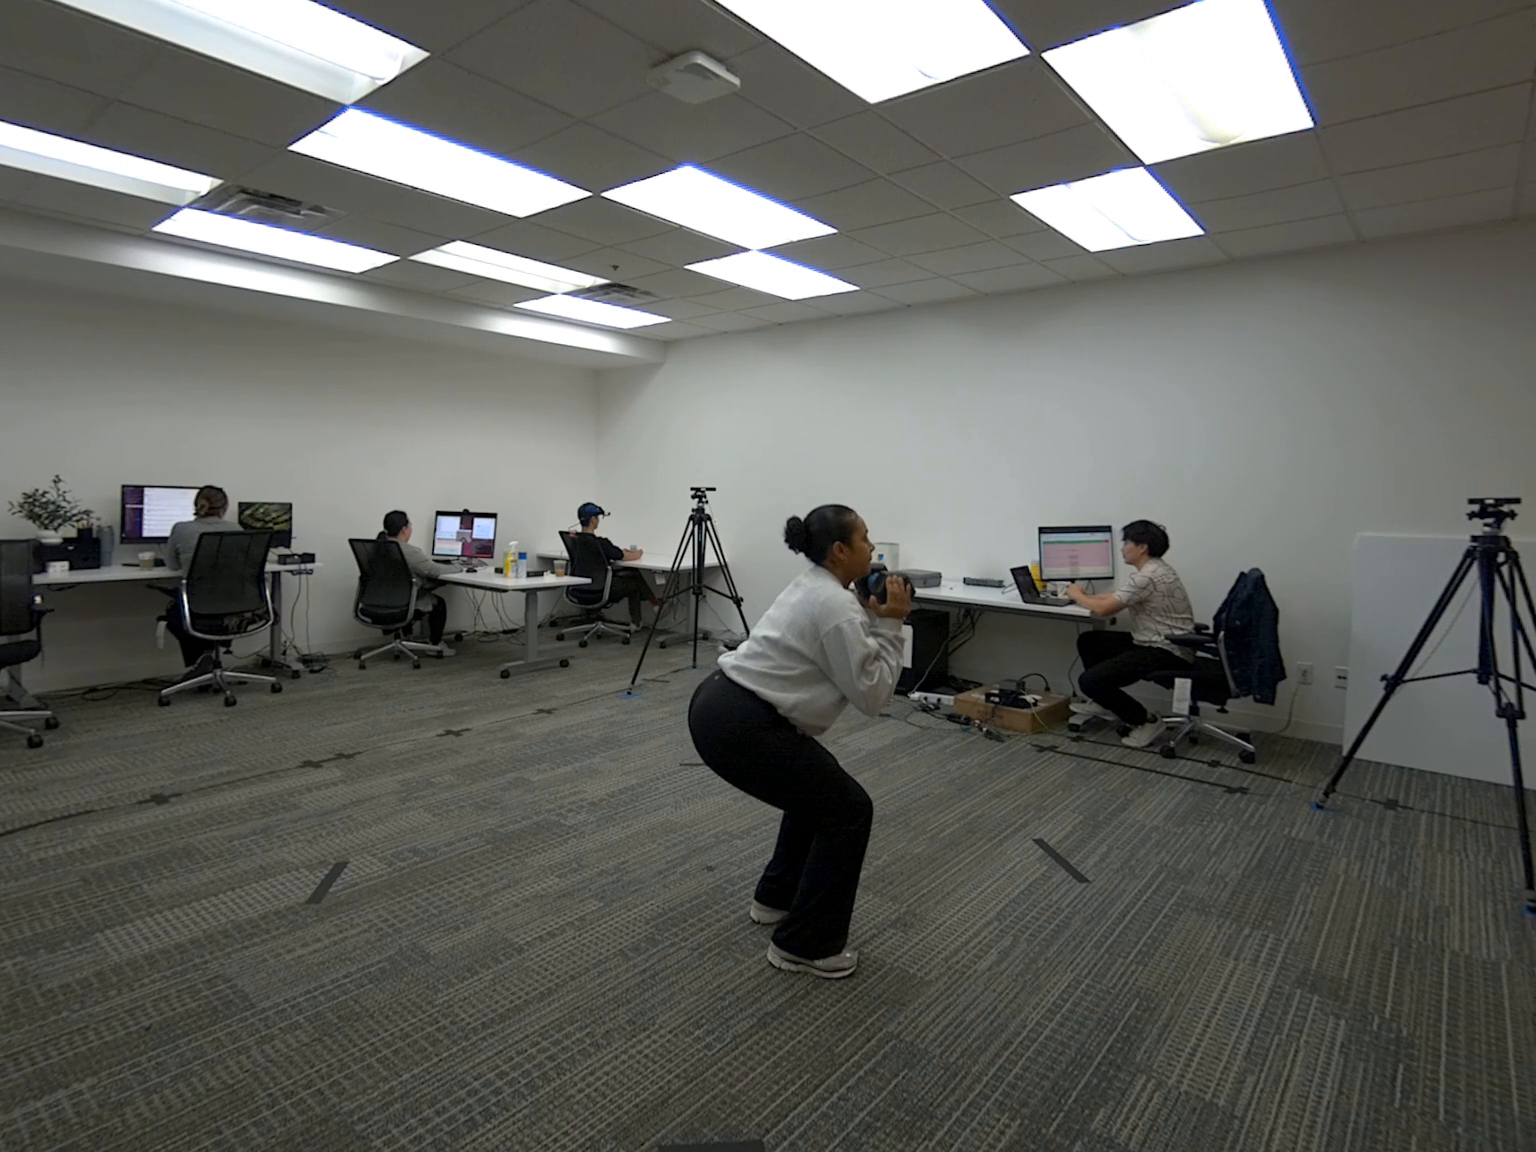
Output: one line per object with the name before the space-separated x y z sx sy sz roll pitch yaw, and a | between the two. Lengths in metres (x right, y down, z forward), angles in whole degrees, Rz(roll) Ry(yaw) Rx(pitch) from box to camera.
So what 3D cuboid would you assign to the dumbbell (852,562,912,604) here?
dumbbell | 0.334 0.023 2.579 0.108 0.121 0.298 -32 12 -5
